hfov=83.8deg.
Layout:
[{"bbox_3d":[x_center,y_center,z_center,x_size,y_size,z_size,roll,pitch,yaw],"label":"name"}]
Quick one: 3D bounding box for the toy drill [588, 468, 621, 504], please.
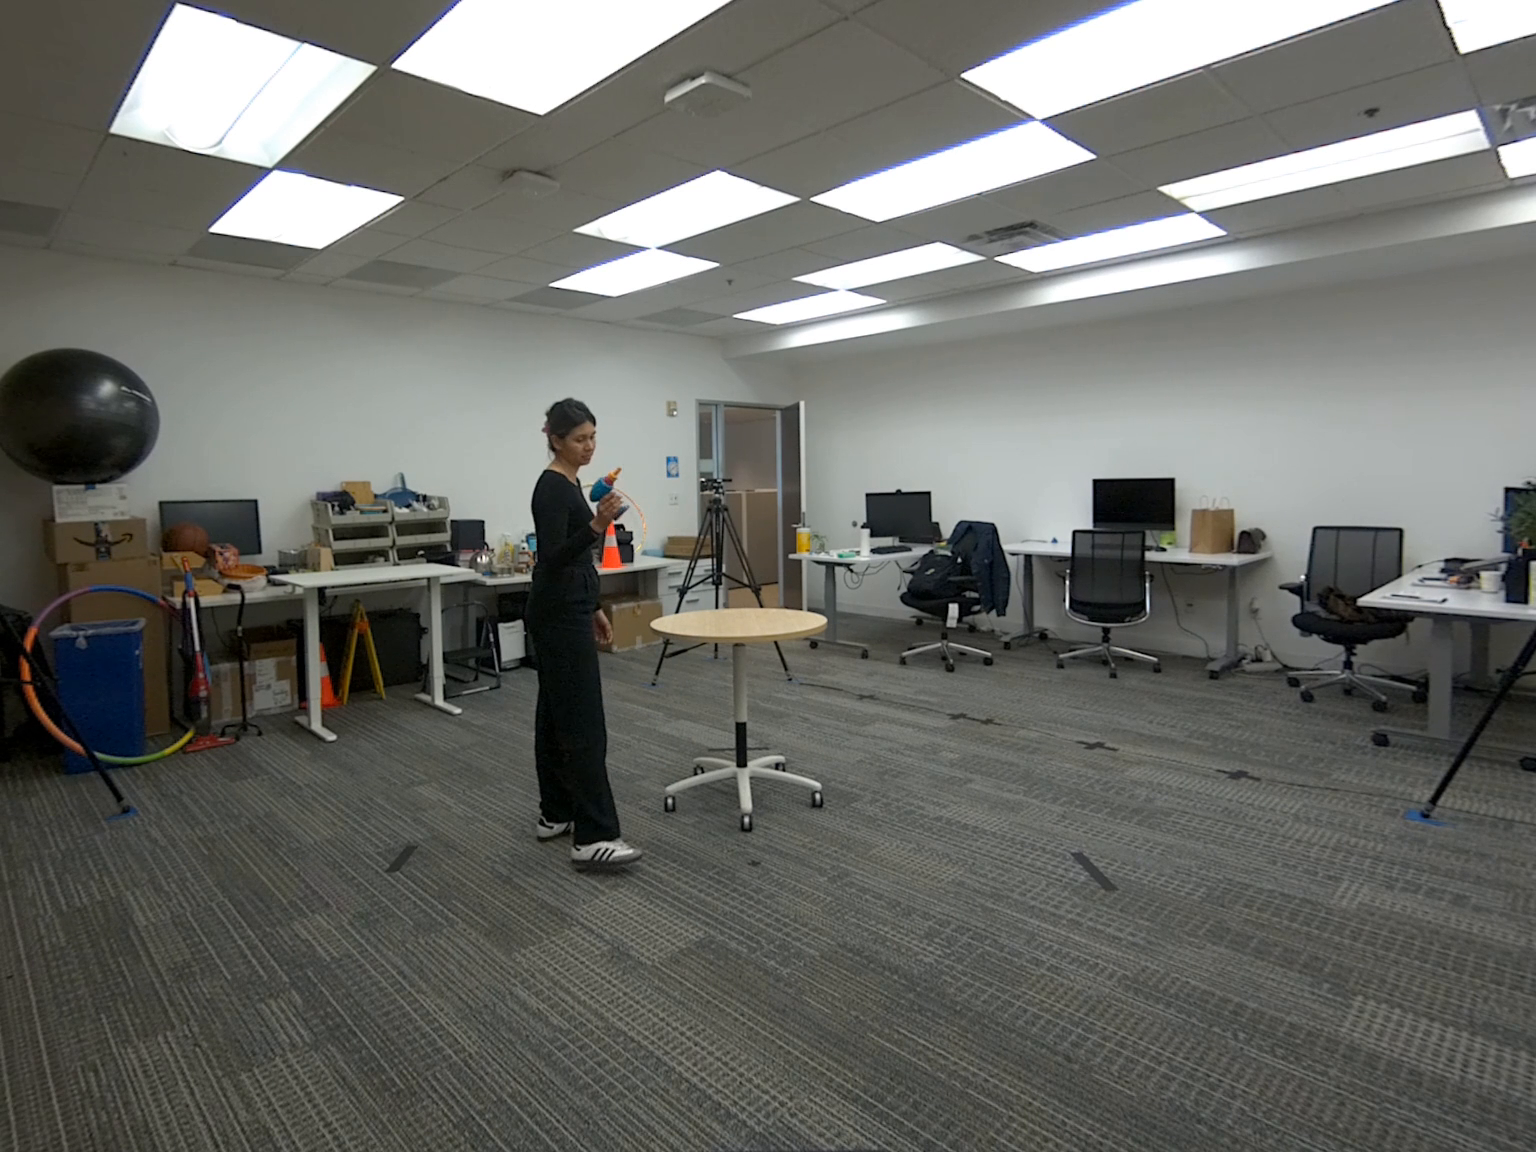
[{"bbox_3d":[-0.523,-0.293,2.964,0.170,0.146,0.061,-46,0,21],"label":"toy drill"}]
